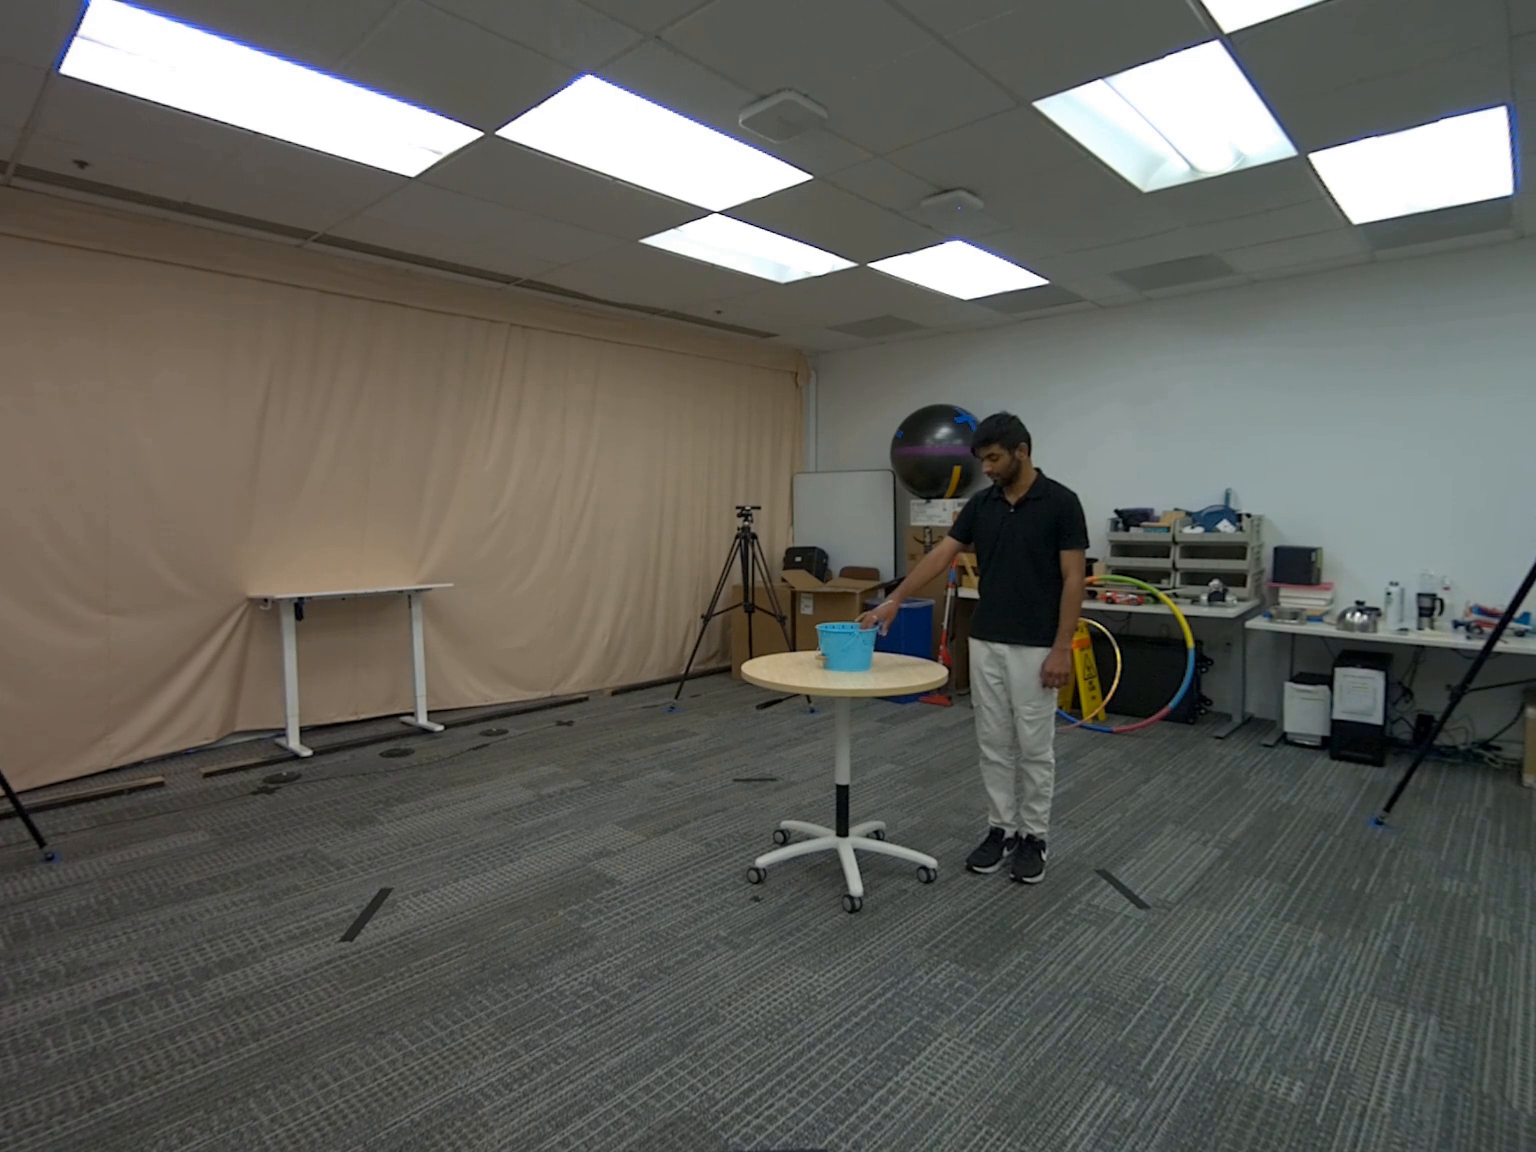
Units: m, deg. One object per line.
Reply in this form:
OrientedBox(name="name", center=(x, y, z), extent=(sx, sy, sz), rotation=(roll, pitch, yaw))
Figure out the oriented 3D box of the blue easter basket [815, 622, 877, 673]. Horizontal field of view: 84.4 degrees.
OrientedBox(name="blue easter basket", center=(0.305, 0.275, 3.187), extent=(0.243, 0.156, 0.244), rotation=(0, 2, -2))
